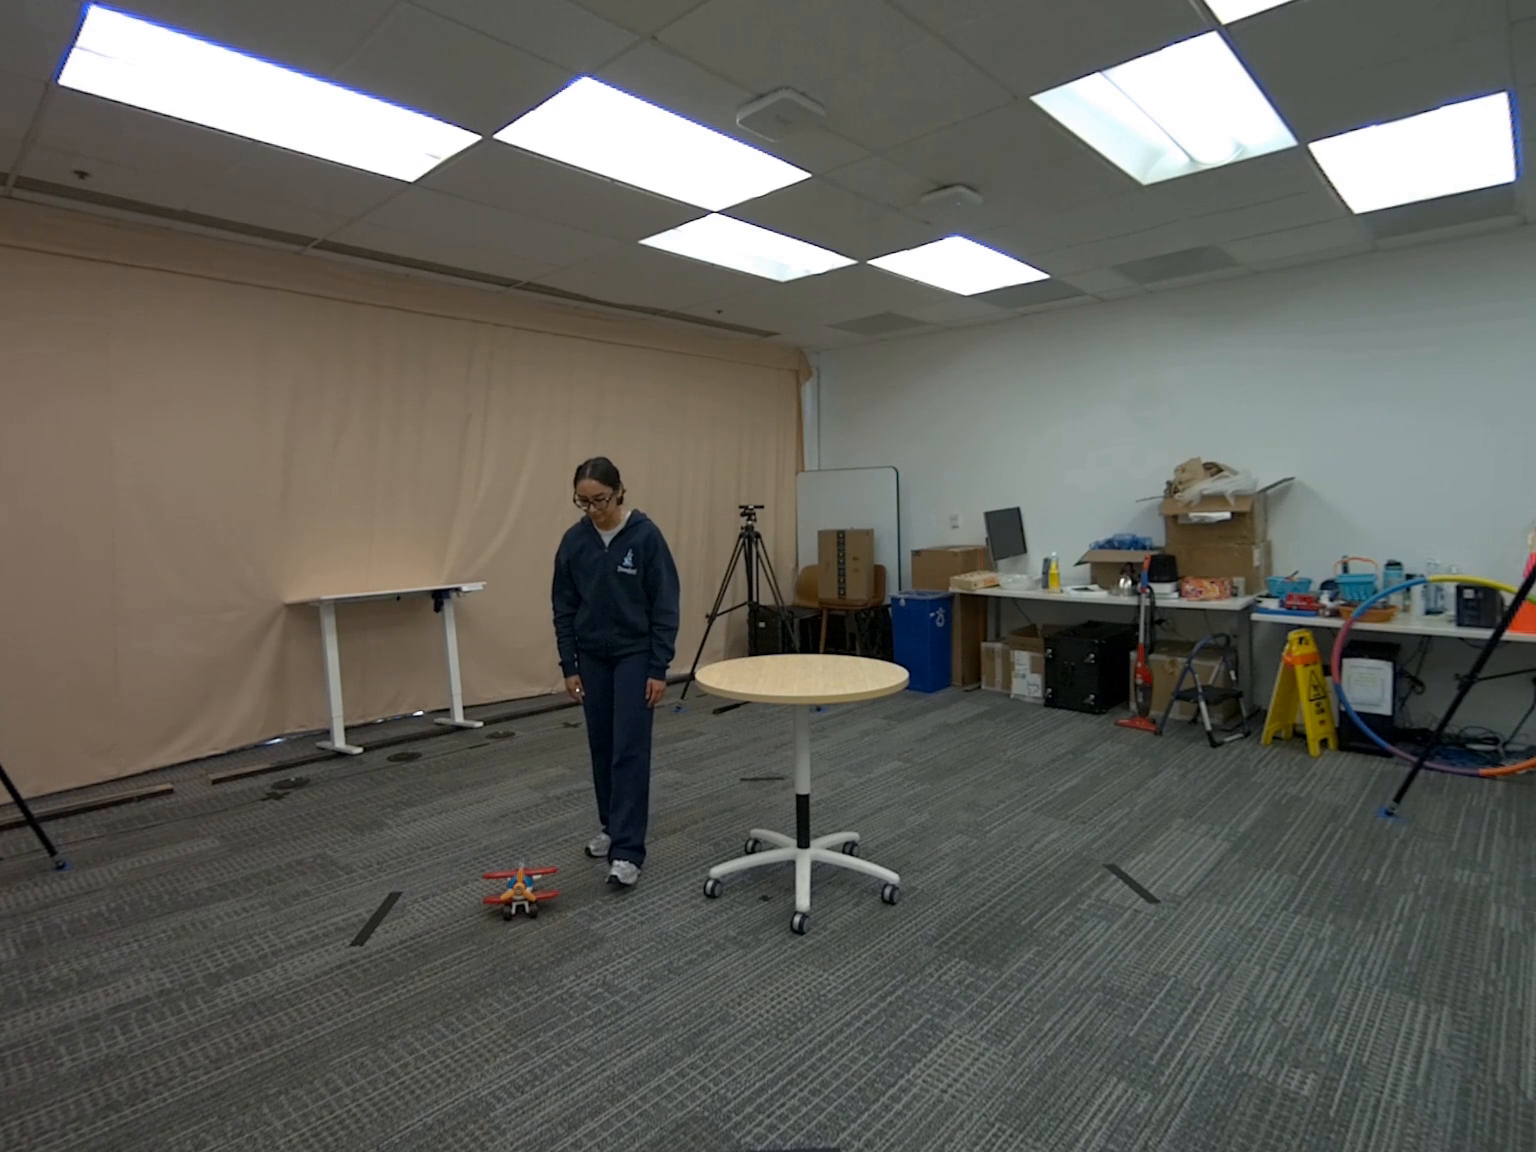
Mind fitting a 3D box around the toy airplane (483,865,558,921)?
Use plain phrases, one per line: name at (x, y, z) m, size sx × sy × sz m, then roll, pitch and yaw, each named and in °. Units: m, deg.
toy airplane at (-0.887, 1.092, 2.953) m, size 0.243 × 0.156 × 0.267 m, roll -3°, pitch 3°, yaw -38°
